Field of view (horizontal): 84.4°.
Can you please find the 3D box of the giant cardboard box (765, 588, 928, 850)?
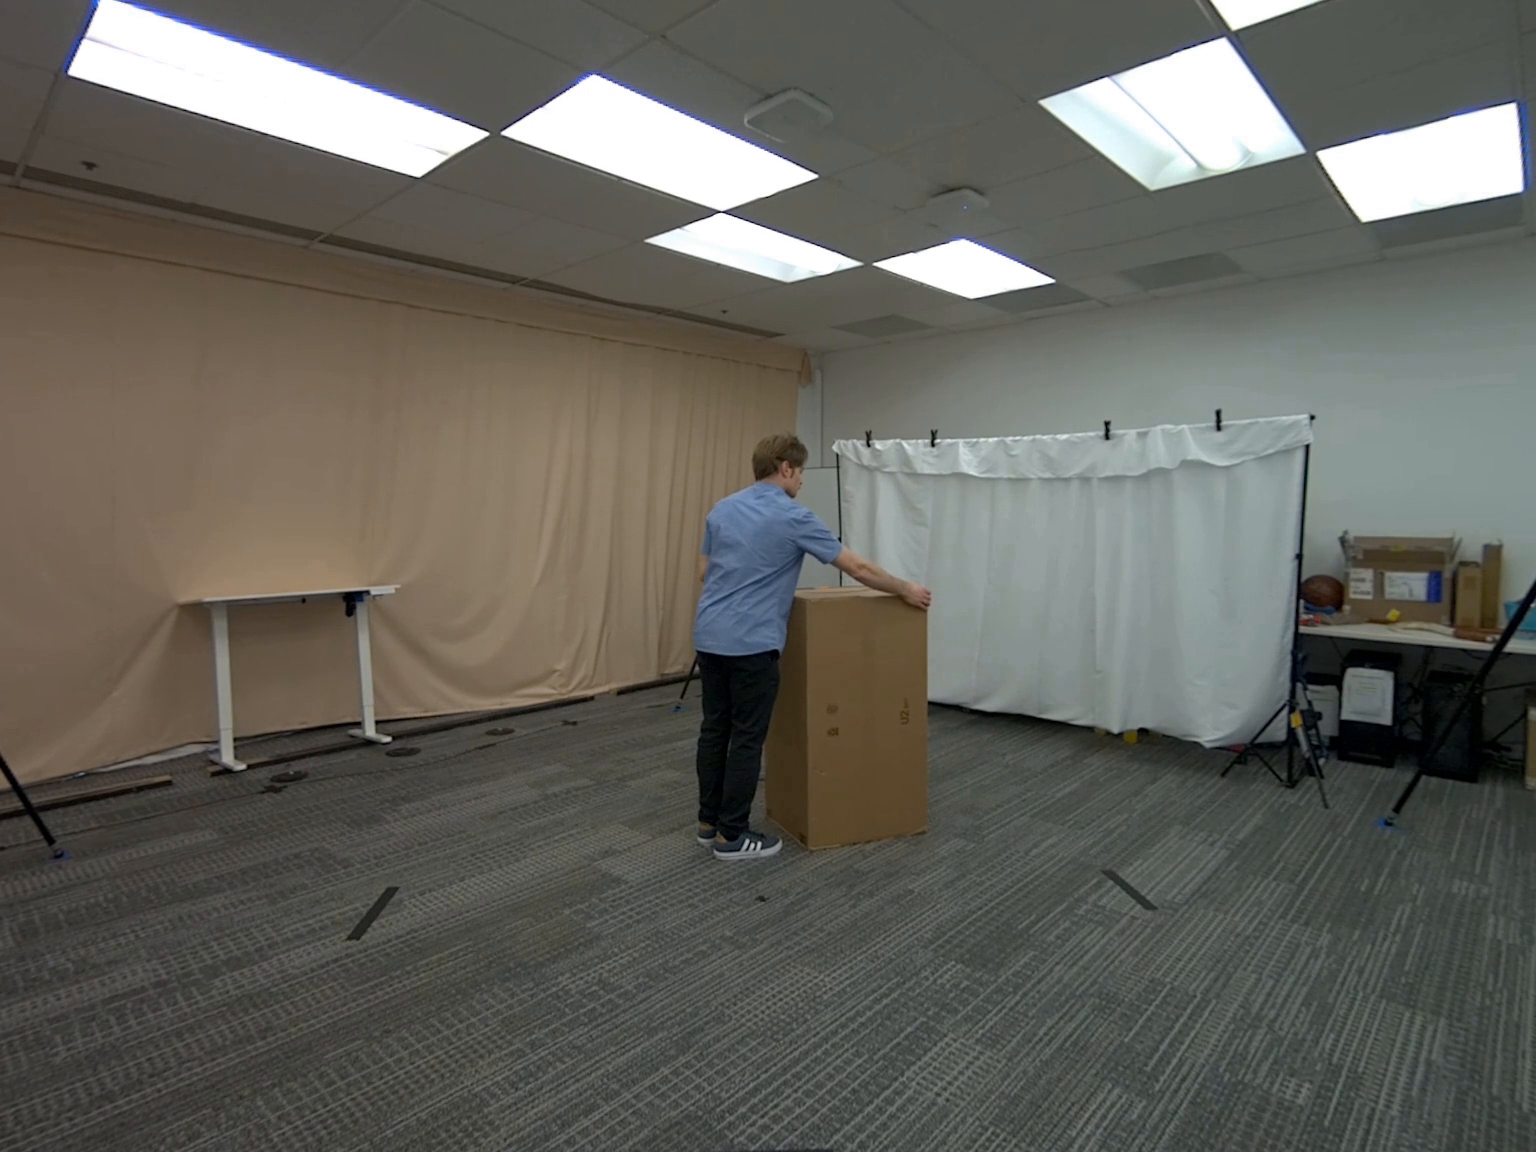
[{"bbox_3d":[0.334,0.576,3.663,0.566,1.024,0.436,-2,3,-21],"label":"giant cardboard box"}]
